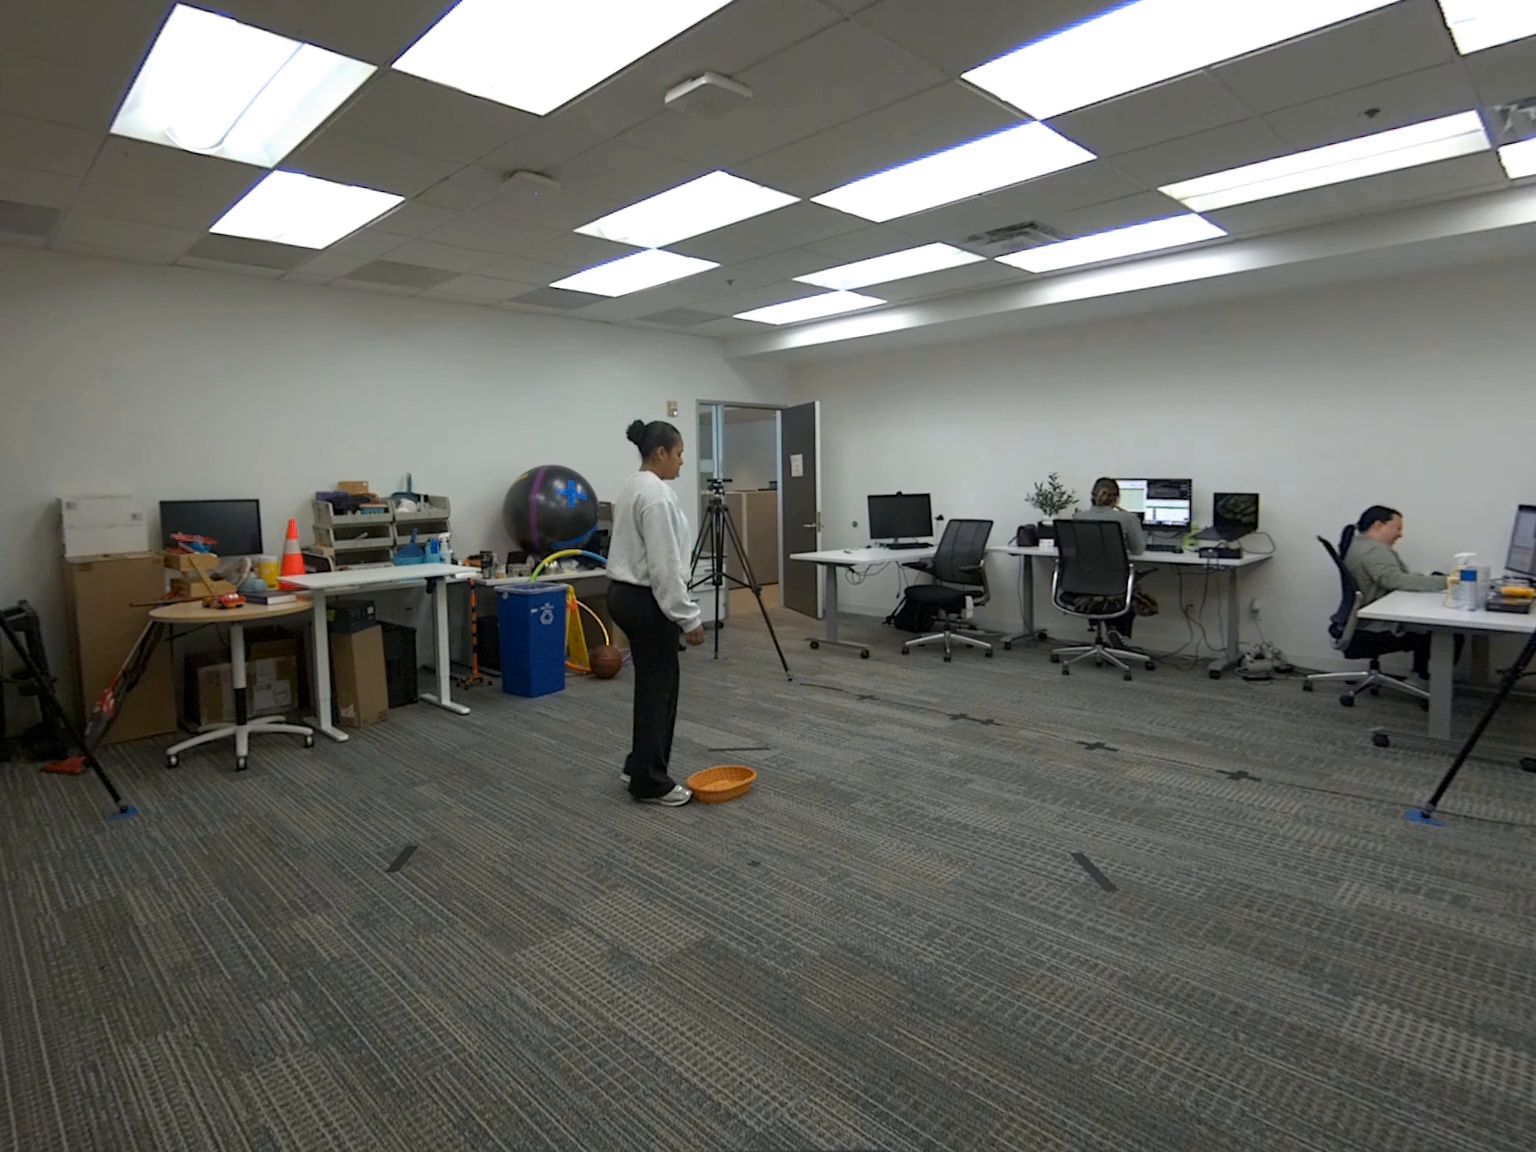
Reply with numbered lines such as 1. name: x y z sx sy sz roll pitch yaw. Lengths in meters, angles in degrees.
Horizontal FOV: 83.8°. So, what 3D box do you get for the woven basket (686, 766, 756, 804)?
1. woven basket: -0.205 0.926 3.811 0.342 0.073 0.260 -9 10 -41
